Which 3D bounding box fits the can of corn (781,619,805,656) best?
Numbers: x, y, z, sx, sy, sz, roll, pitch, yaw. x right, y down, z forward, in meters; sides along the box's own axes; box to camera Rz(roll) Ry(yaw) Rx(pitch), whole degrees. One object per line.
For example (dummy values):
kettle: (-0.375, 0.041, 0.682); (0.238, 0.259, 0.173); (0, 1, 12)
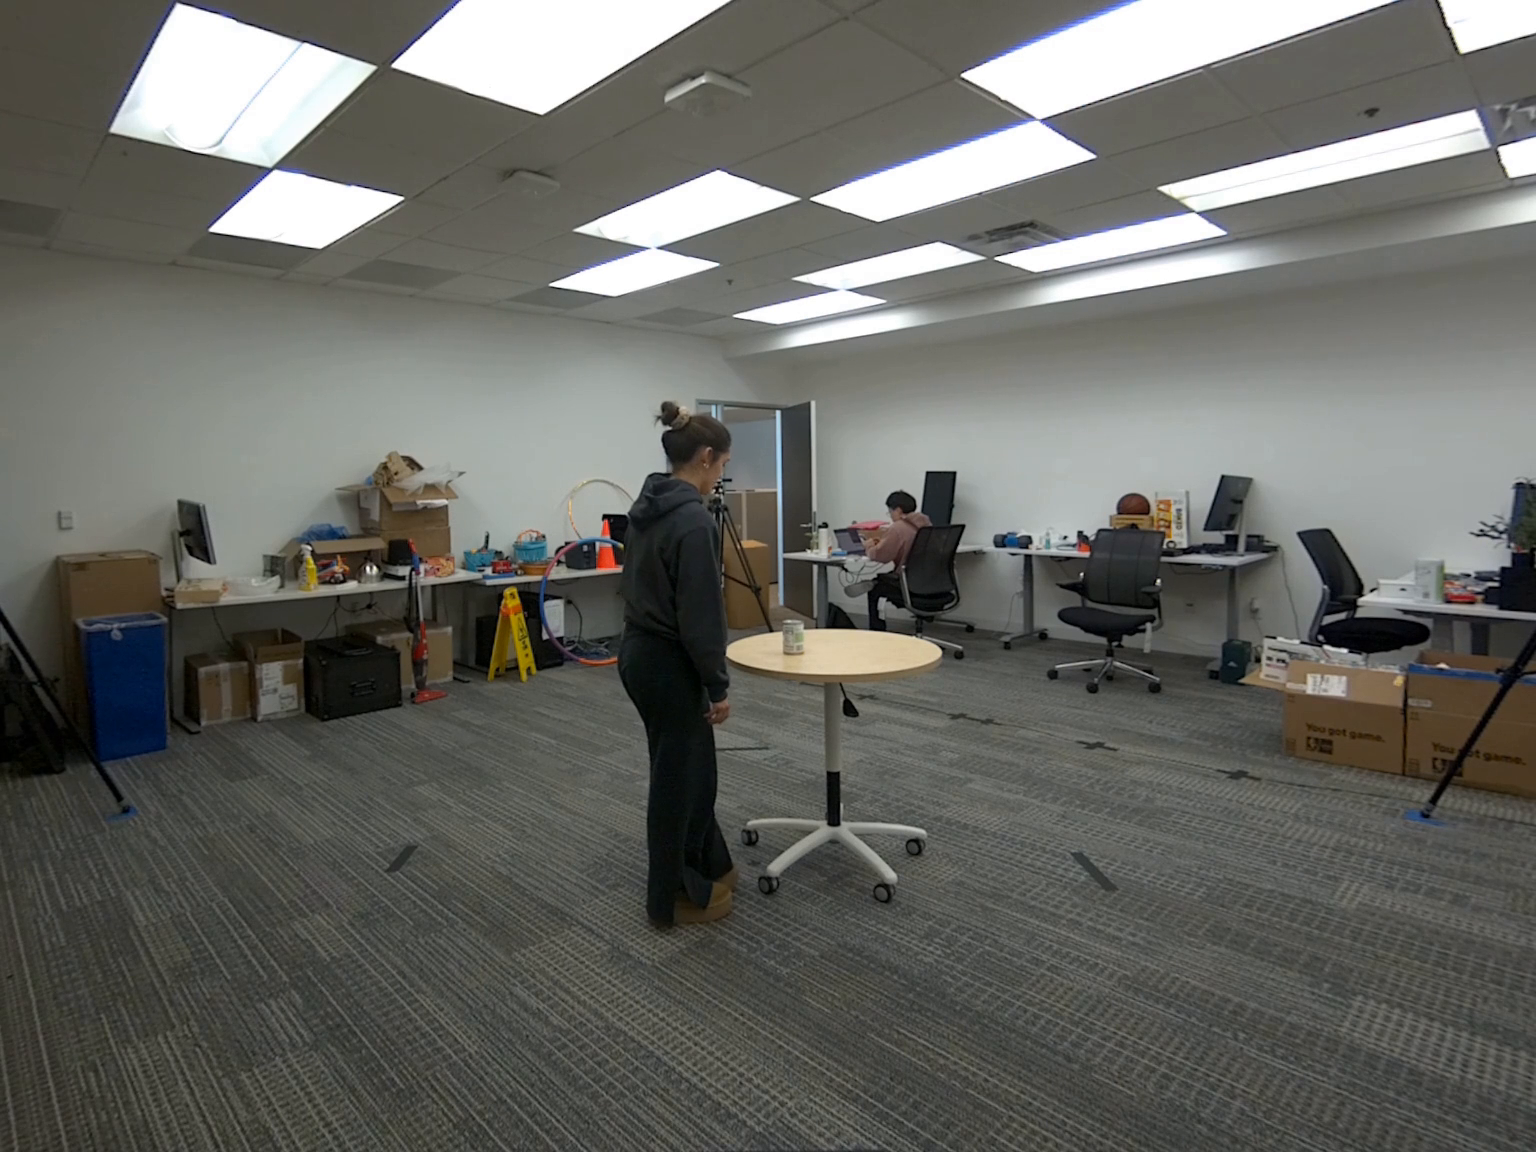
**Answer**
can of corn: (0.094, 0.219, 2.990); (0.074, 0.110, 0.074); (2, 5, -2)
